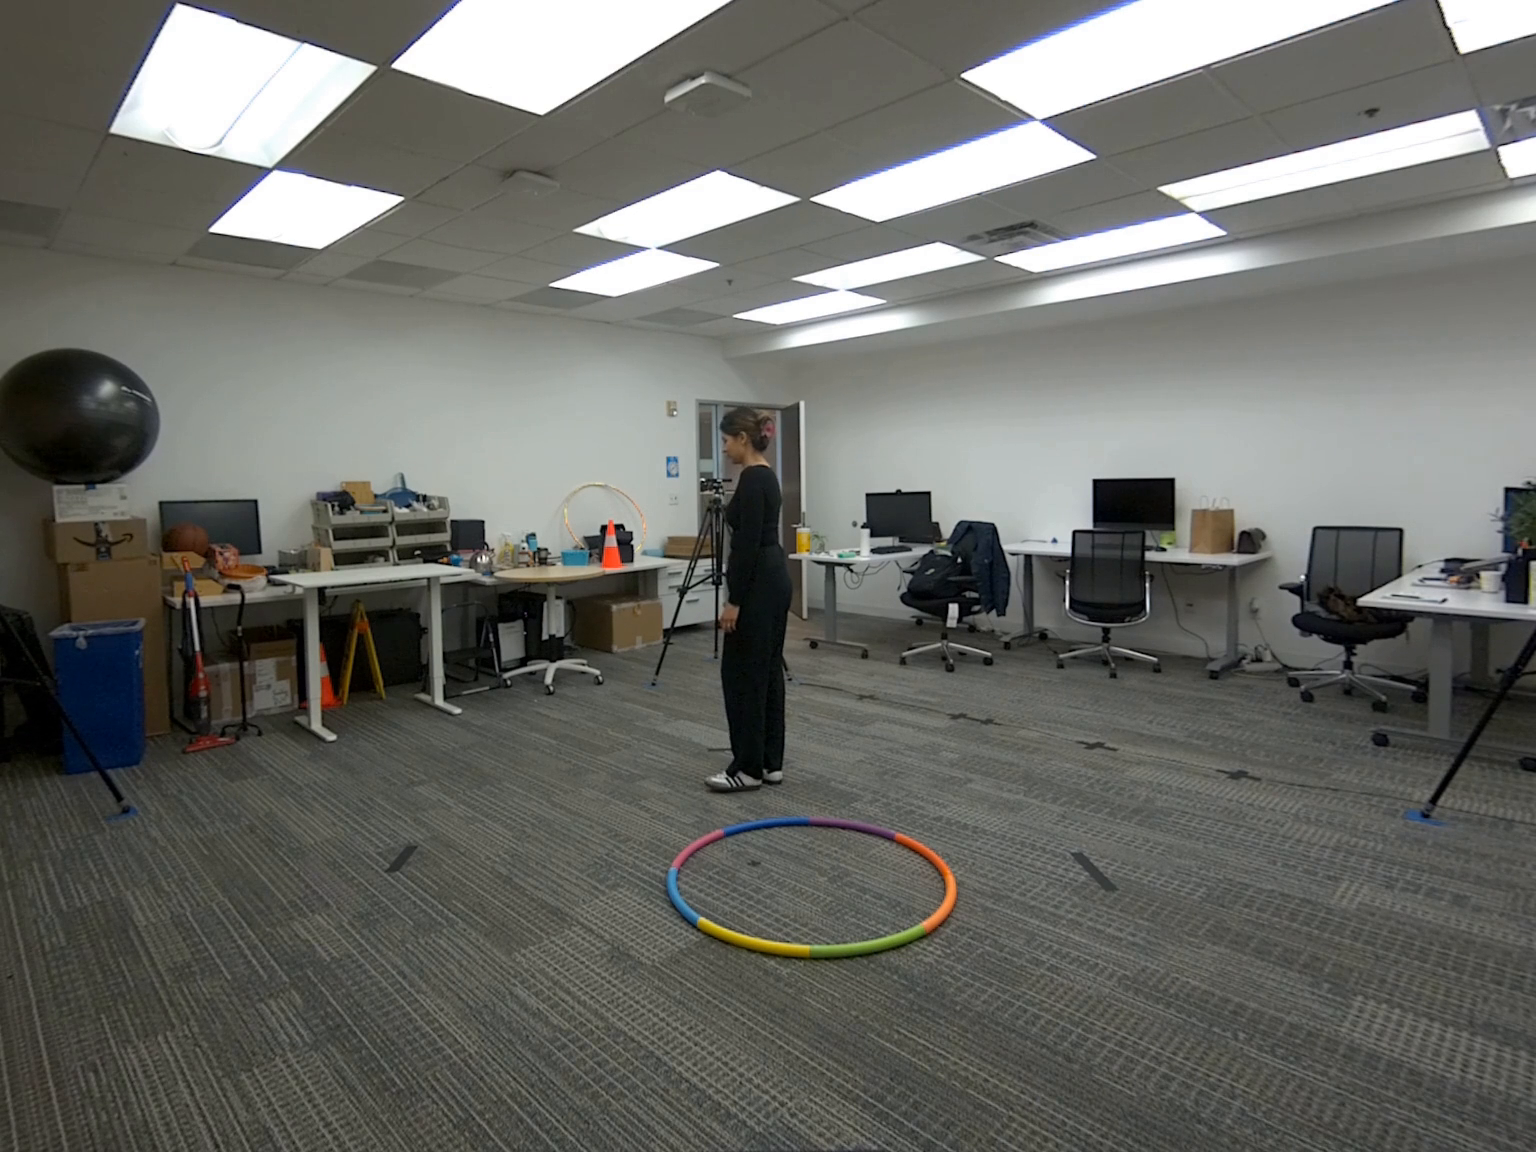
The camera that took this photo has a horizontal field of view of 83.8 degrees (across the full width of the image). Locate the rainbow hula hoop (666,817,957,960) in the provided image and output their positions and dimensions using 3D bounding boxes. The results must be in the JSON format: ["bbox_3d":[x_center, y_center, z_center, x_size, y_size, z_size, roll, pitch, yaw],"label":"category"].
[{"bbox_3d":[0.142,1.028,2.966,0.978,0.035,0.984,-2,7,-2],"label":"rainbow hula hoop"}]
